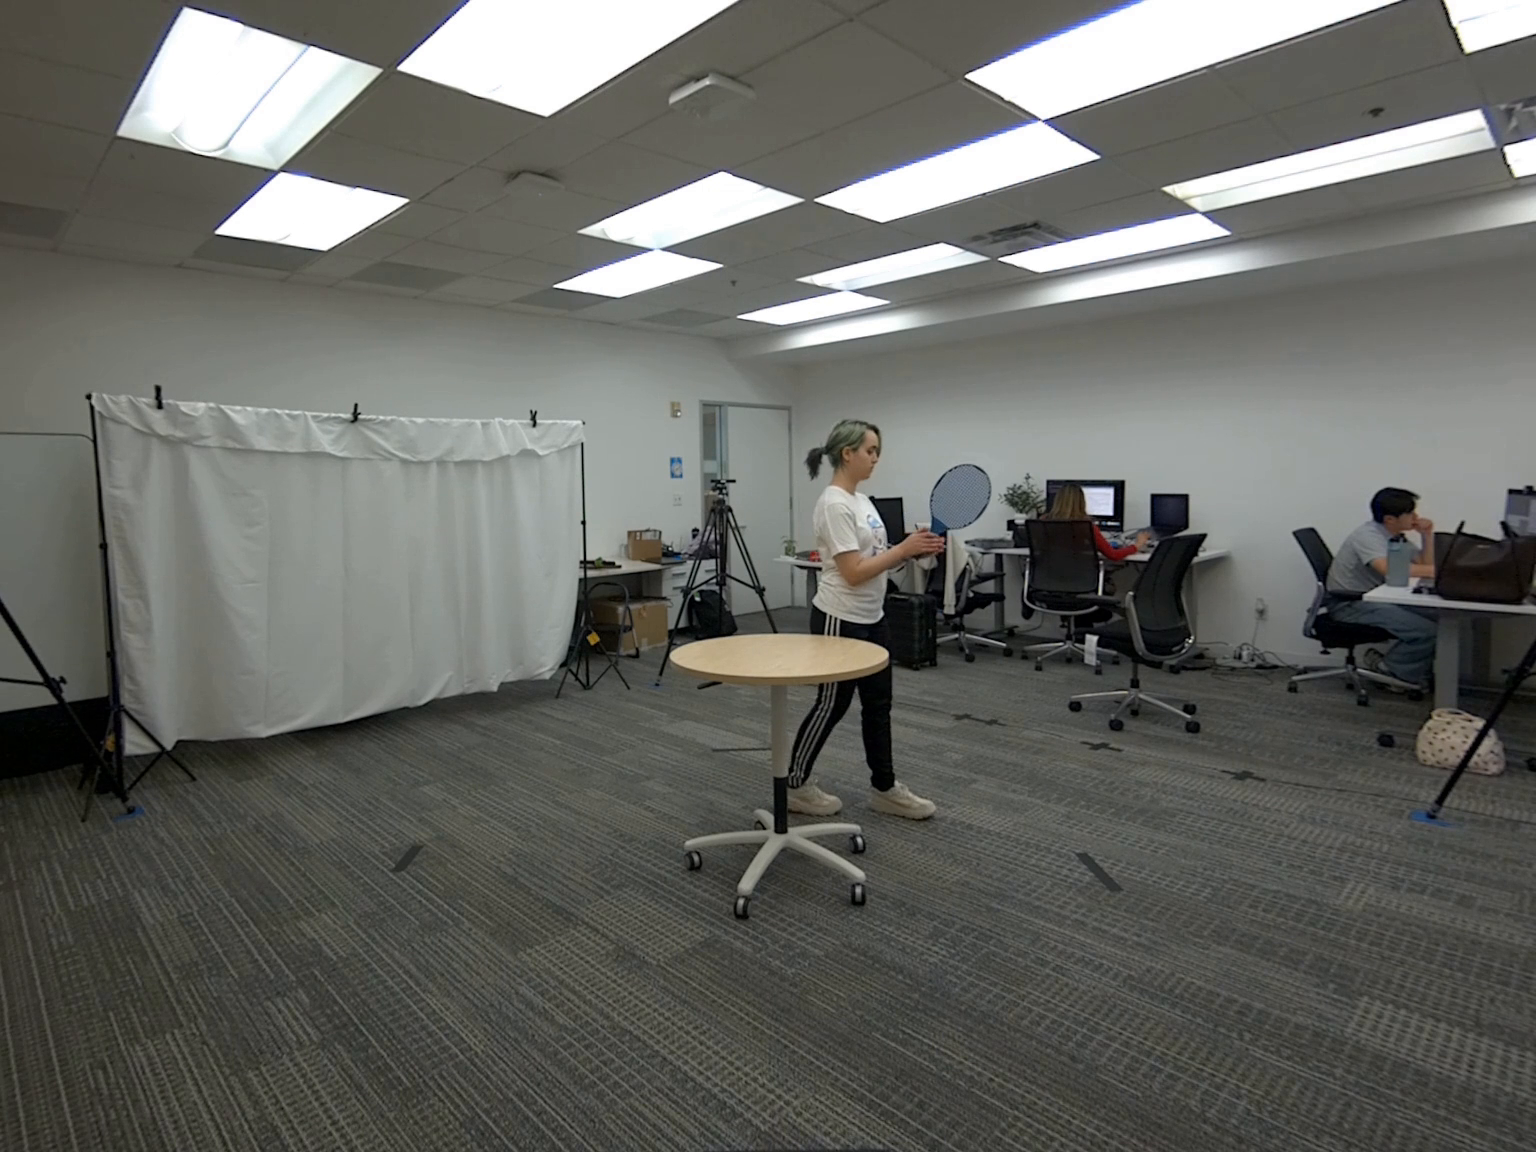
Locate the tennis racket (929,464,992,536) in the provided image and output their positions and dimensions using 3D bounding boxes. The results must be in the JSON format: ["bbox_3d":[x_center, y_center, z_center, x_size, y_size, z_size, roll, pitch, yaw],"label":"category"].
[{"bbox_3d":[0.679,-0.248,3.297,0.220,0.432,0.031,50,24,23],"label":"tennis racket"}]
